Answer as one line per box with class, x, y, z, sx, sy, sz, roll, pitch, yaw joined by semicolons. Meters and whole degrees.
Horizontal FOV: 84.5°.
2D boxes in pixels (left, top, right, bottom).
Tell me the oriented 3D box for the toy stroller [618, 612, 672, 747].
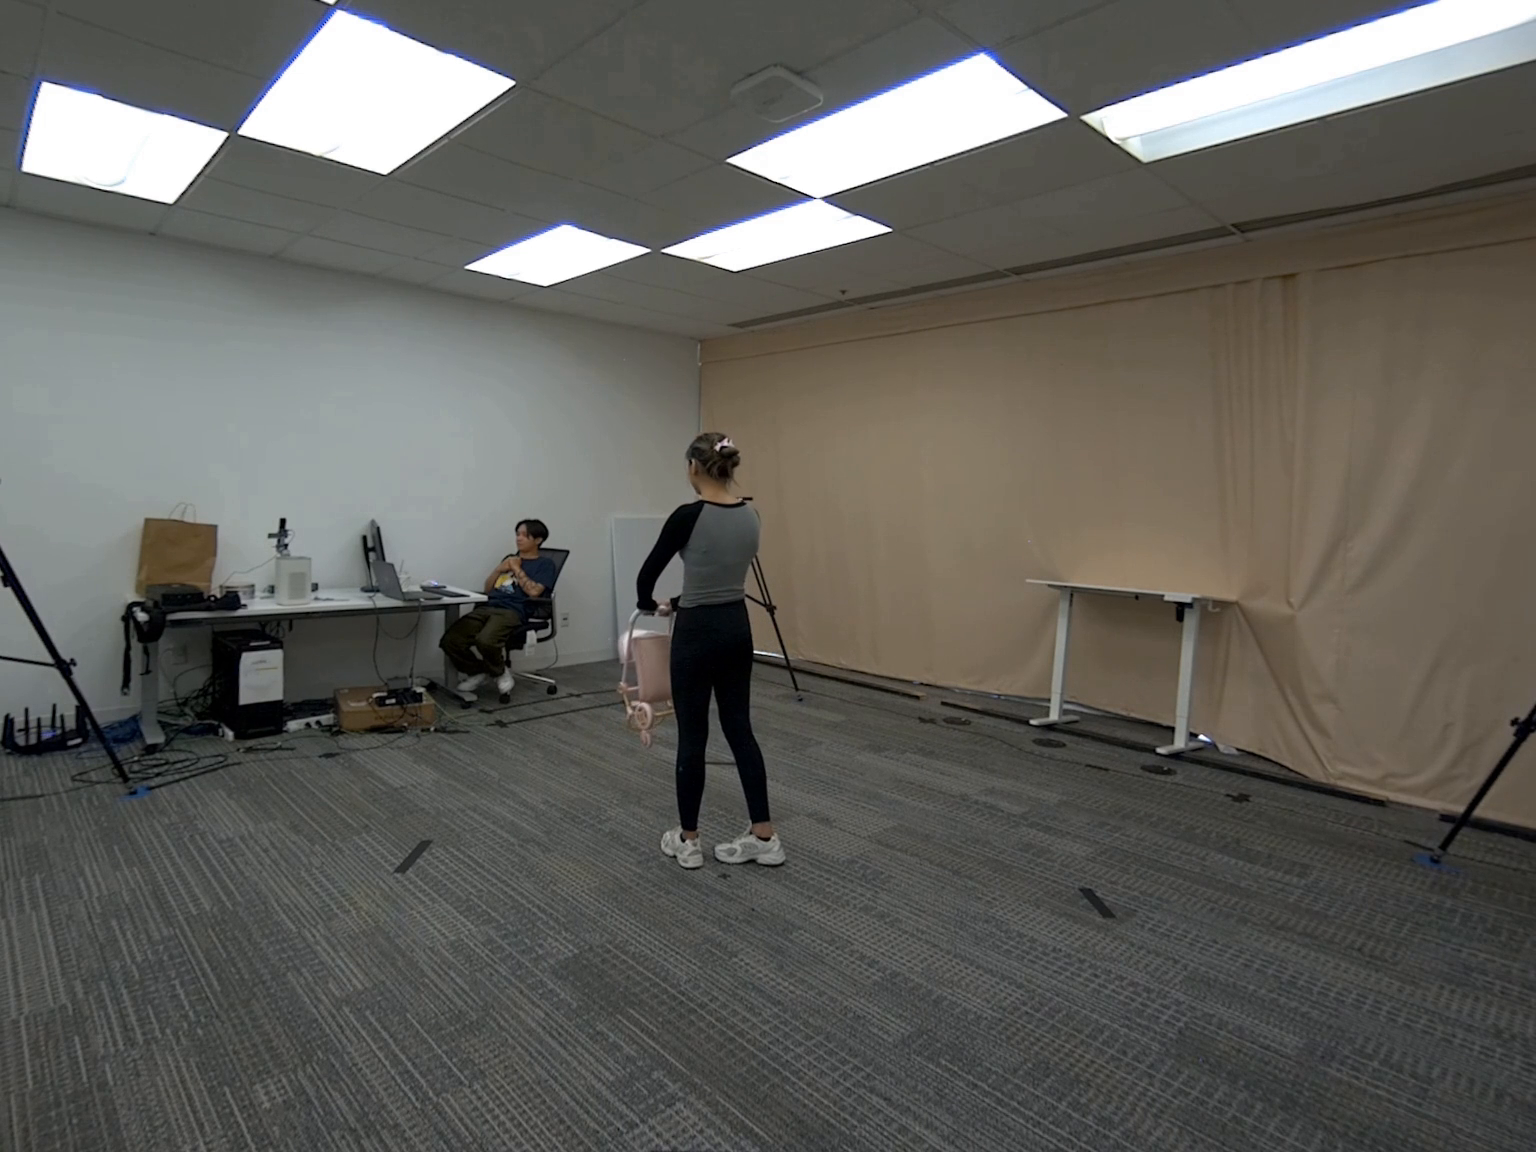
toy stroller;-0.498;0.436;3.526;0.276;0.542;0.344;-4;-17;-33
